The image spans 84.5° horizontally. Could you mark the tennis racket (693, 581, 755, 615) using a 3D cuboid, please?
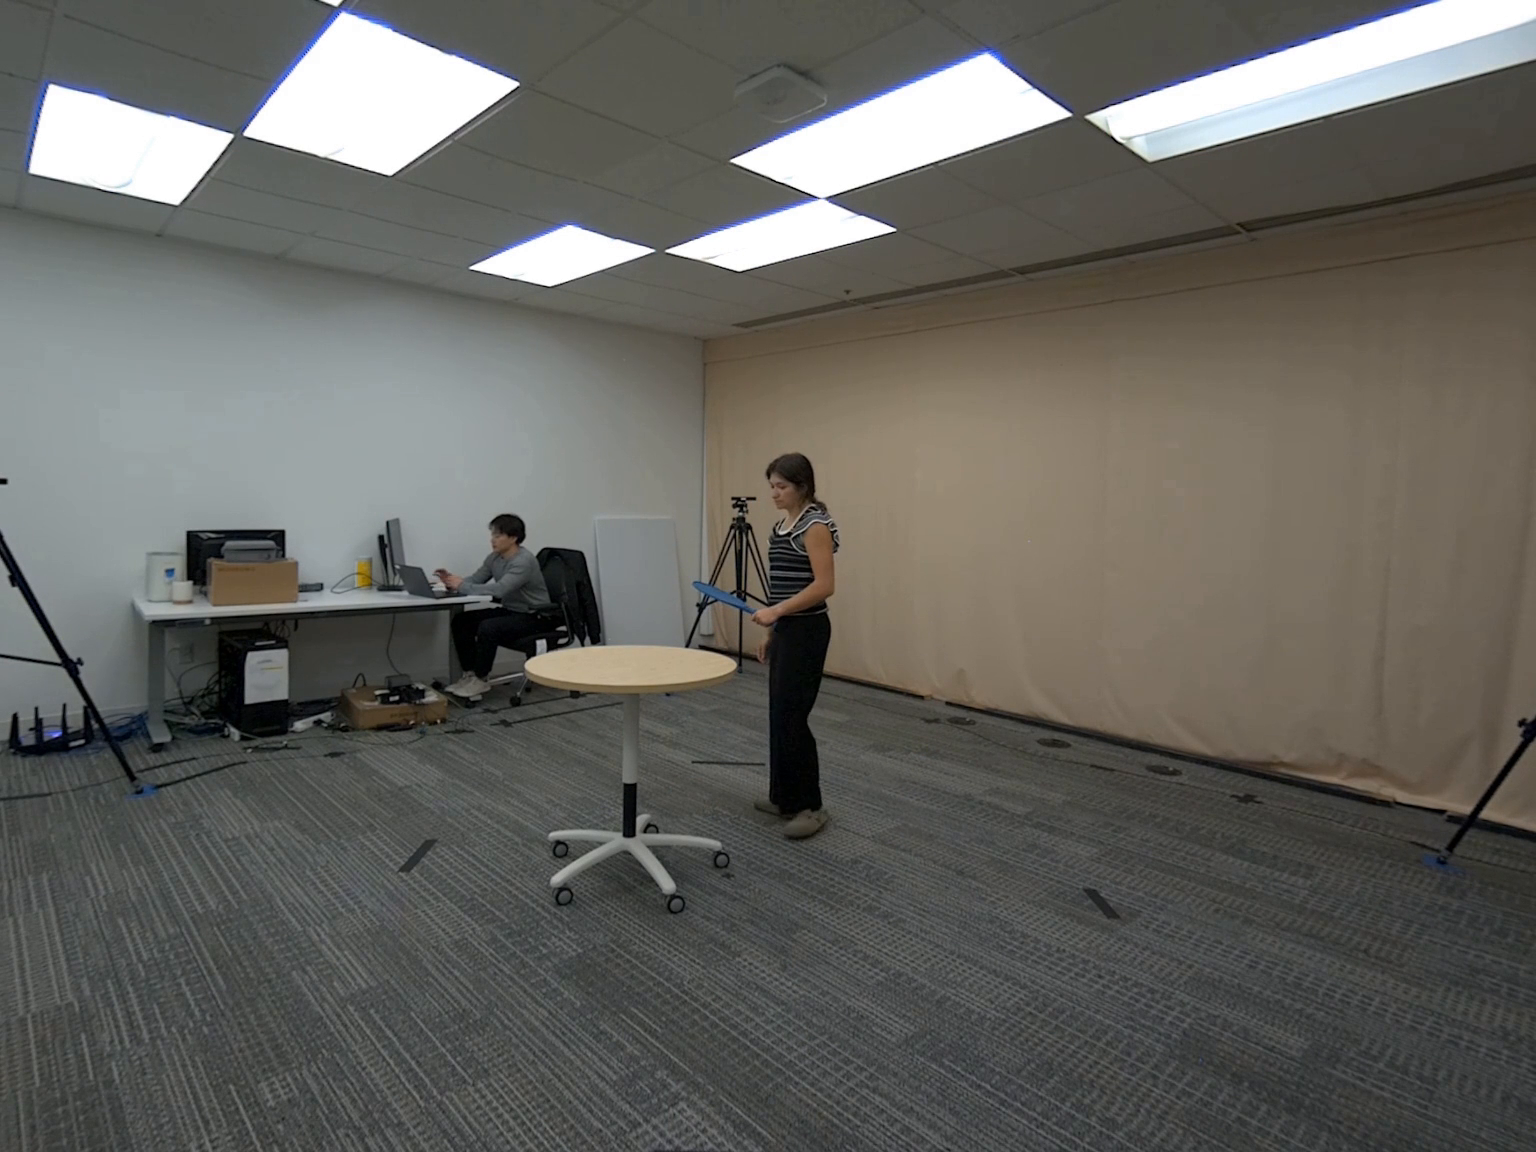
[{"bbox_3d":[-0.141,0.112,3.605,0.445,0.031,0.208,28,11,31],"label":"tennis racket"}]
